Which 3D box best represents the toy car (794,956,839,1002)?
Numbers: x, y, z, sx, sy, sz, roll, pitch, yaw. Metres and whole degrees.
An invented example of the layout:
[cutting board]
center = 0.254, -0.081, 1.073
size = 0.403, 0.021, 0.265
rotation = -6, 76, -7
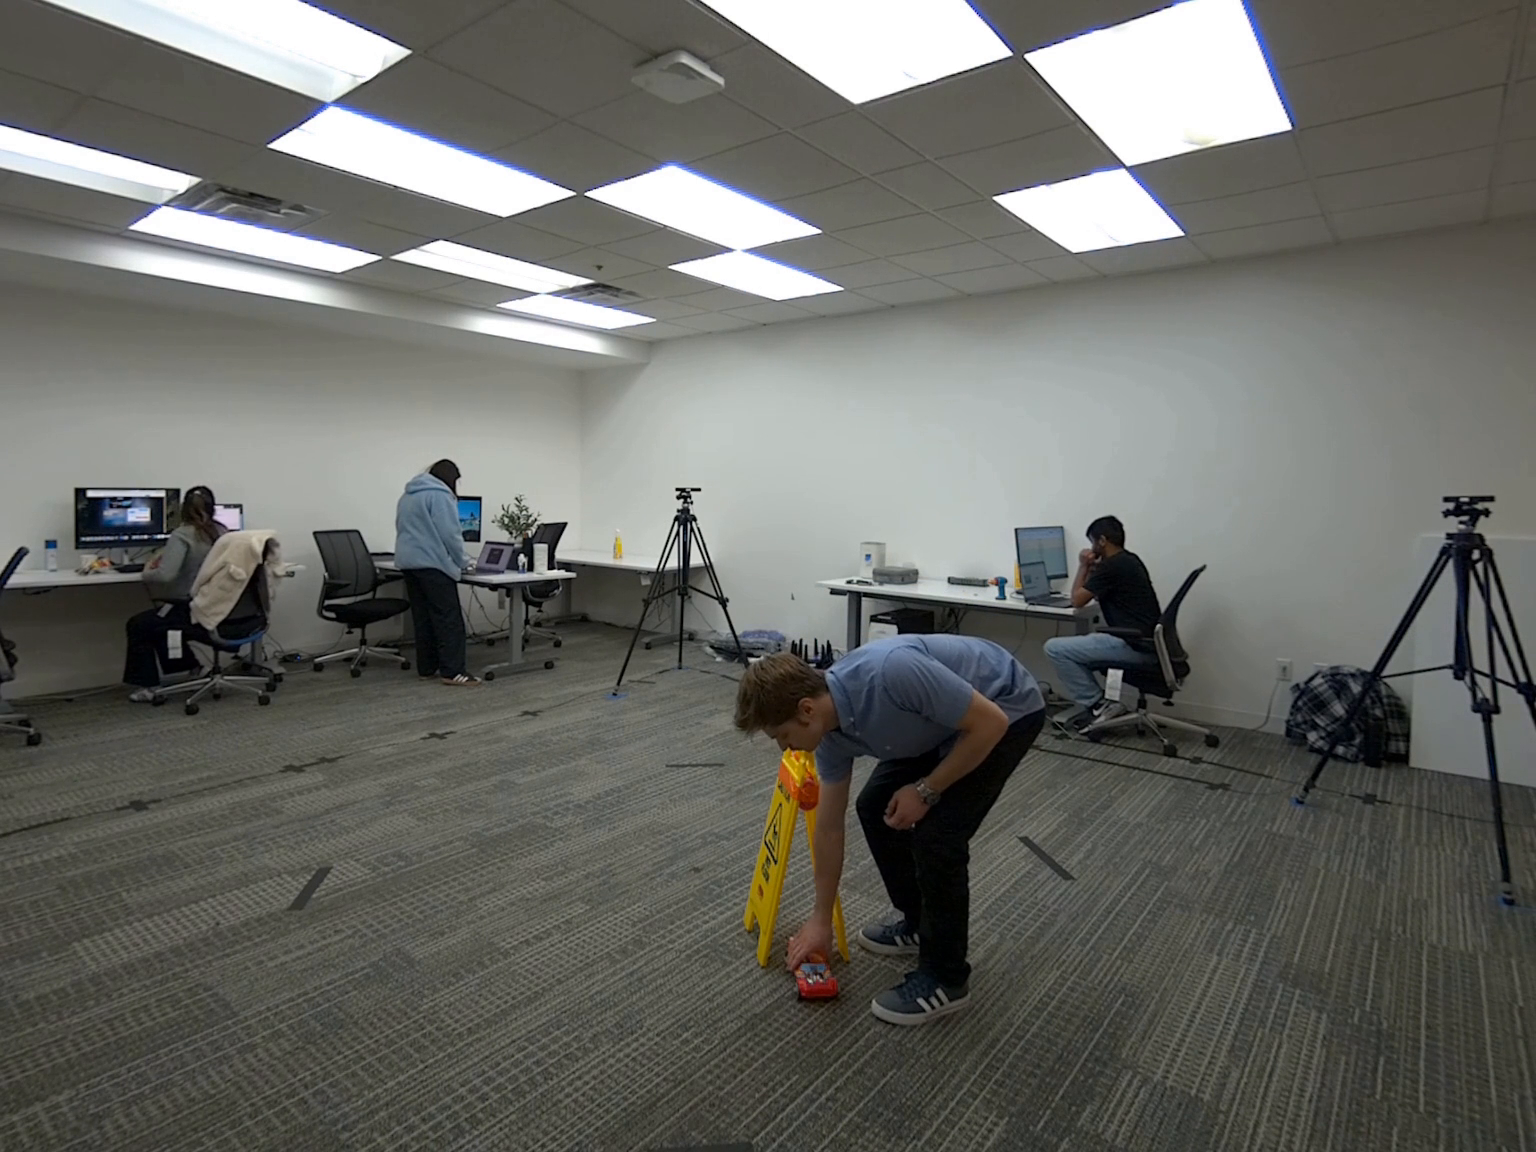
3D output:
[toy car]
center = 0.120, 1.117, 2.414
size = 0.129, 0.082, 0.260
rotation = -1, 14, -8
